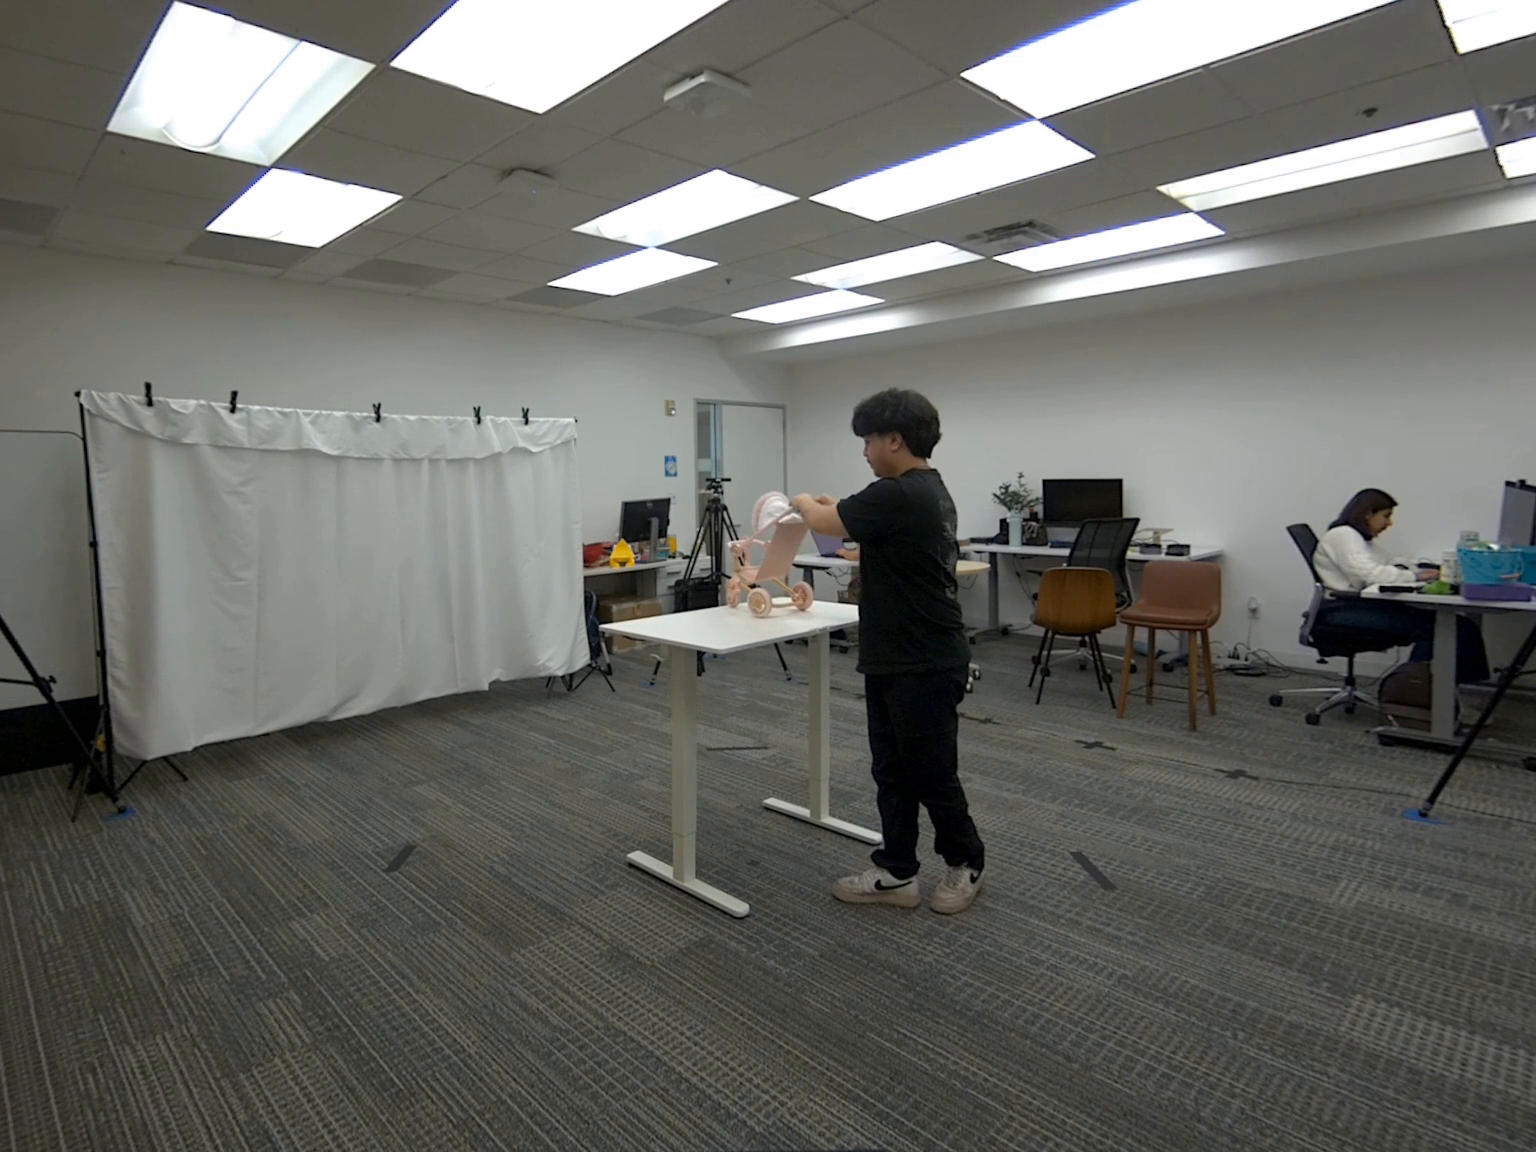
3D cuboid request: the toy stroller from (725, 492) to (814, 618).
[{"bbox_3d":[0.008,-0.083,3.267,0.274,0.529,0.354,-4,22,-43],"label":"toy stroller"}]
